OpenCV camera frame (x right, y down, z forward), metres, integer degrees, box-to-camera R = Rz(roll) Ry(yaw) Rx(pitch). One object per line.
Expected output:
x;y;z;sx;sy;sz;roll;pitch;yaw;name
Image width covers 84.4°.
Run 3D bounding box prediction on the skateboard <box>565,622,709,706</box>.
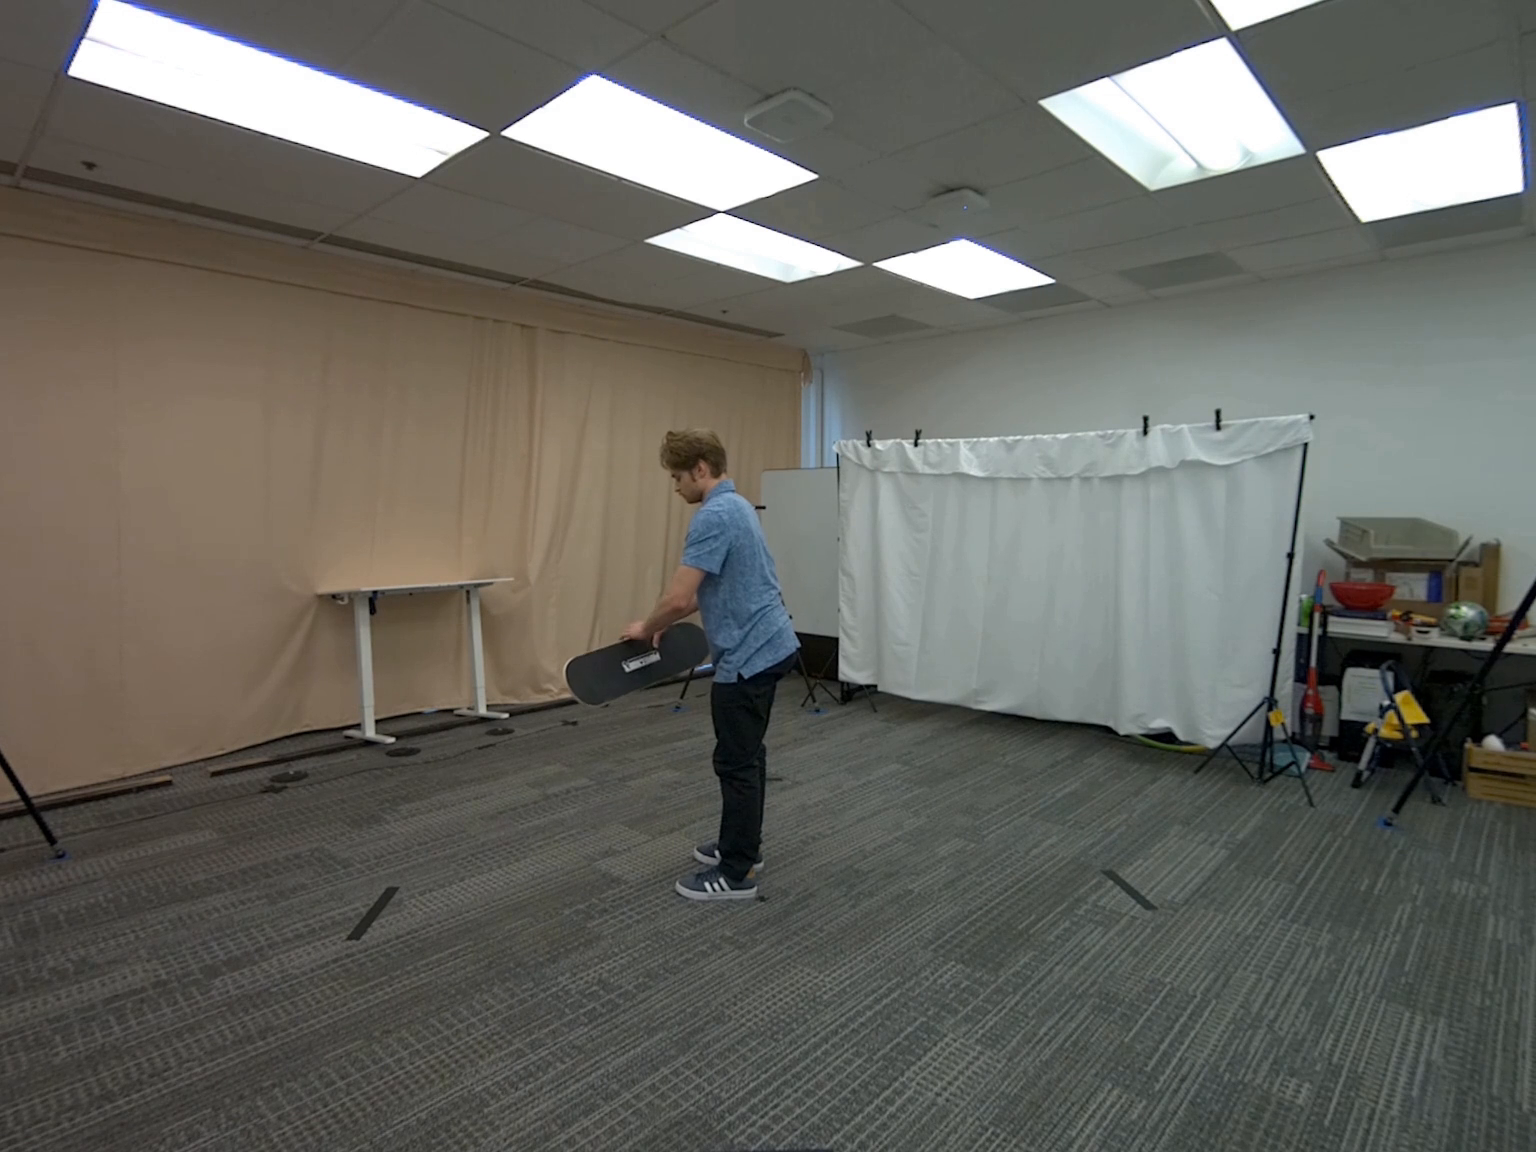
-0.481;0.335;3.133;0.112;0.195;0.766;-34;-10;33;skateboard
